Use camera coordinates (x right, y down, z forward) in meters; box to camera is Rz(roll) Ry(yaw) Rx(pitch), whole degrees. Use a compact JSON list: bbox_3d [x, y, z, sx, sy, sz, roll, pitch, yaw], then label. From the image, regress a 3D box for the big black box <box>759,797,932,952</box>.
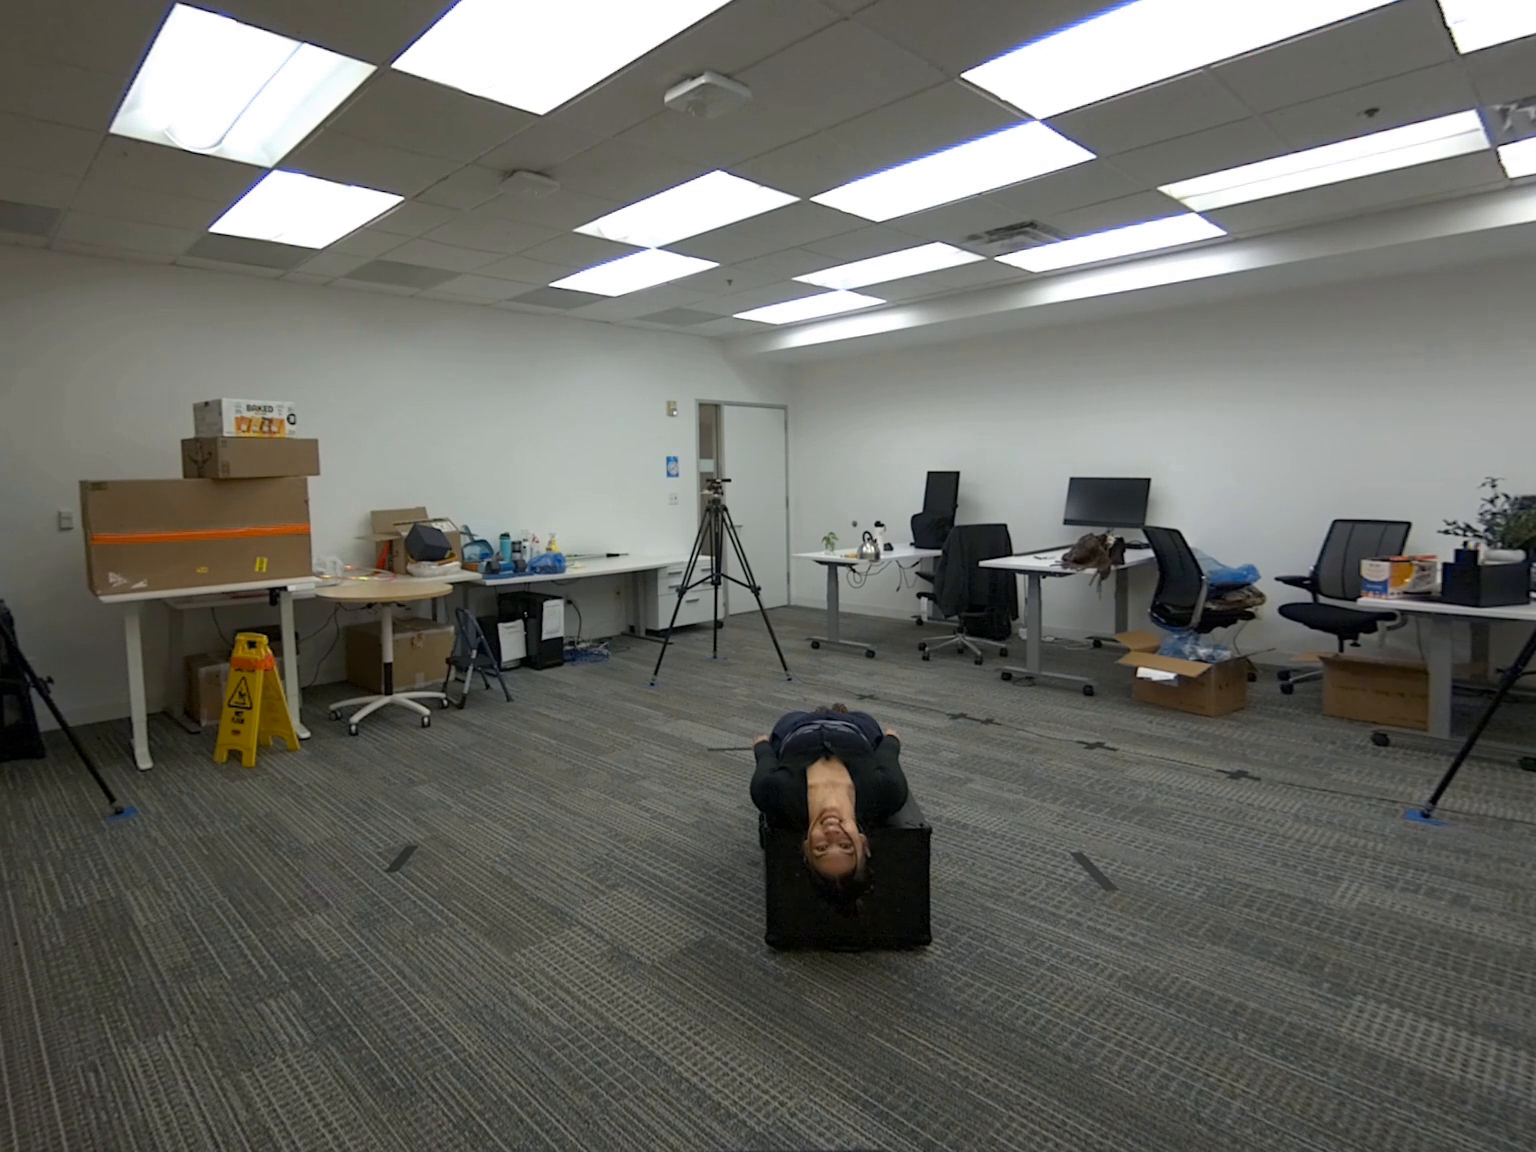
[{"bbox_3d":[0.227,0.865,2.914,0.521,0.394,0.866,-1,7,-1],"label":"big black box"}]
